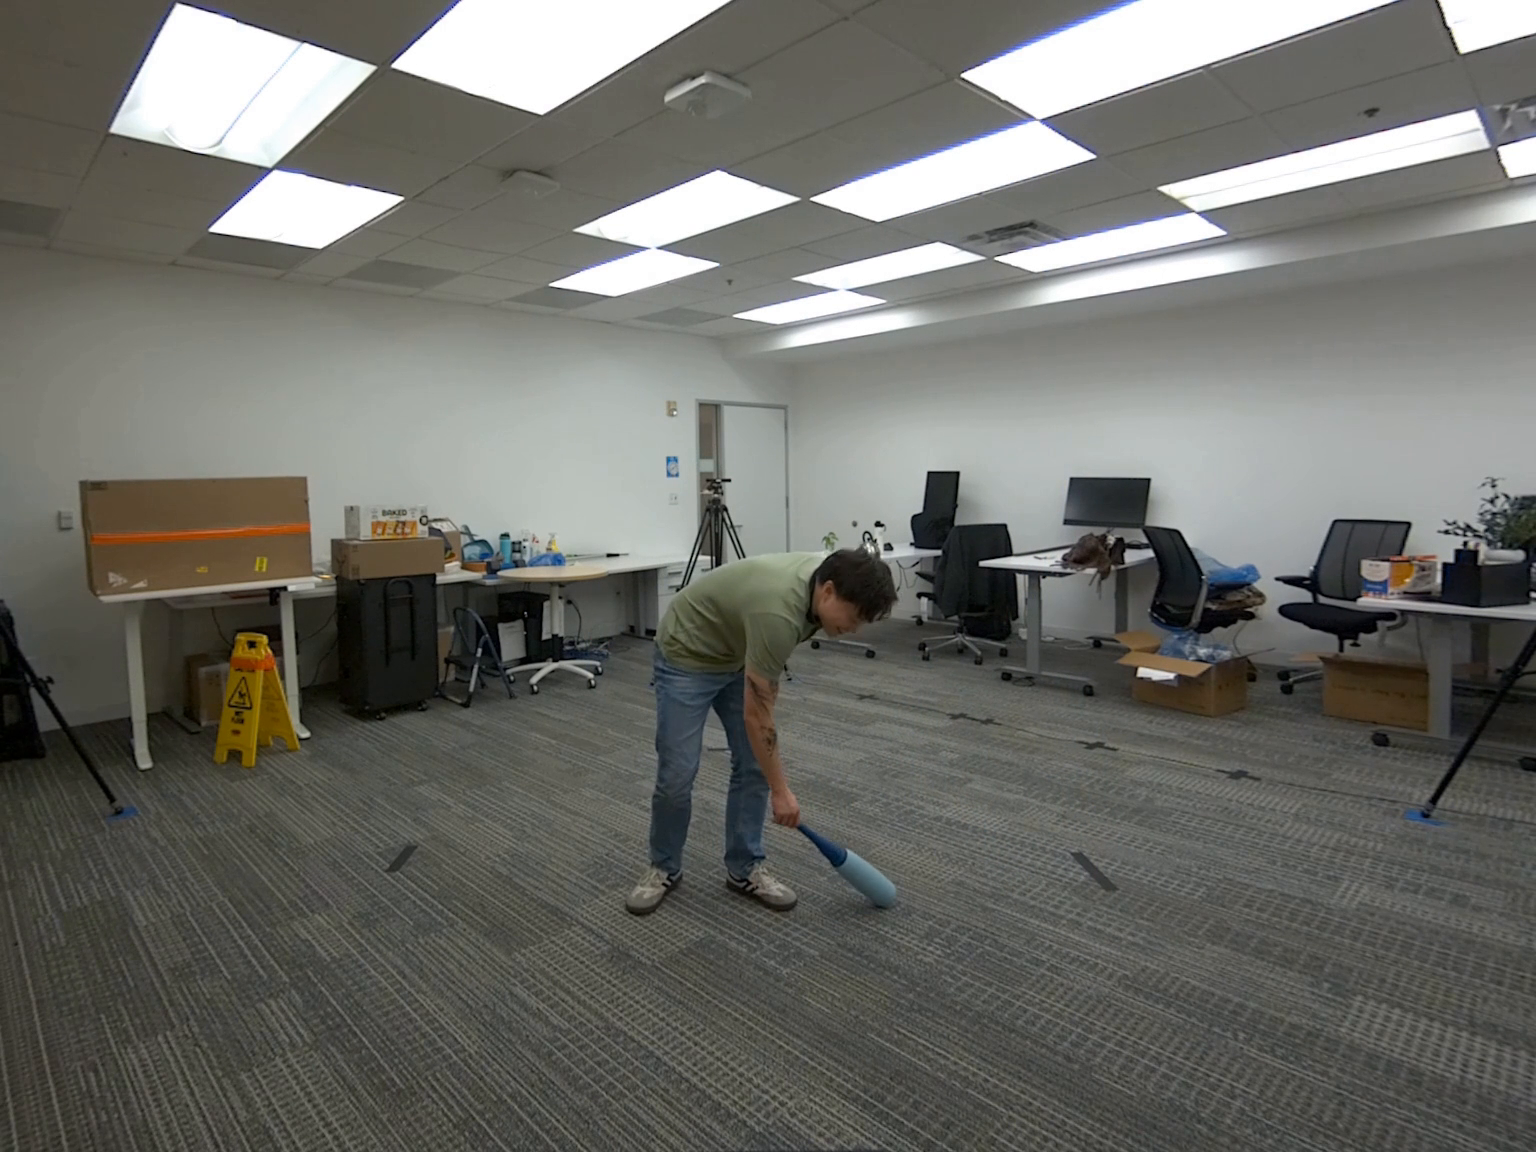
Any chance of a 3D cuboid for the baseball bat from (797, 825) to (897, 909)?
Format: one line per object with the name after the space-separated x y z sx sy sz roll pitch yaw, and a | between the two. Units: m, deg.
0.210 0.876 2.705 0.529 0.089 0.091 41 -13 -20 | baseball bat
